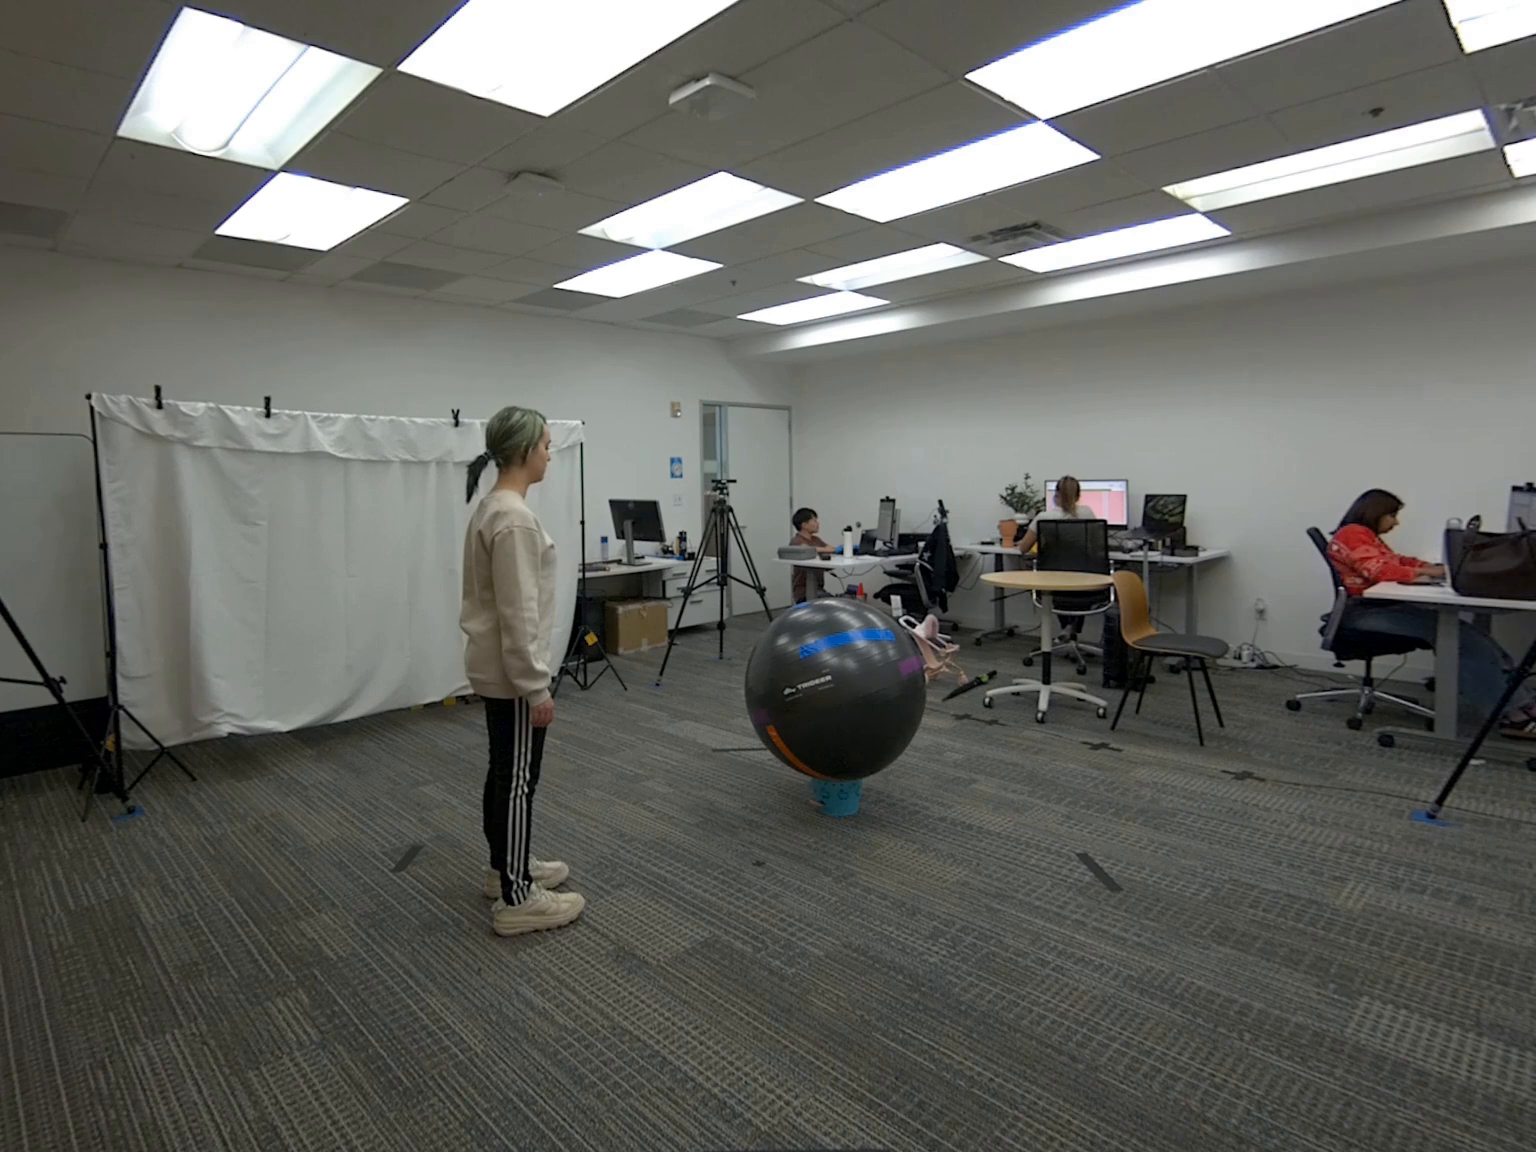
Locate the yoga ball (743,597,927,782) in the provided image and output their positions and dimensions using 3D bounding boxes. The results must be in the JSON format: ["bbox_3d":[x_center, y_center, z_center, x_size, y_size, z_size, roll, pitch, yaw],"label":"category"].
[{"bbox_3d":[0.278,0.473,3.601,0.757,0.755,0.762,-1,5,-2],"label":"yoga ball"}]
